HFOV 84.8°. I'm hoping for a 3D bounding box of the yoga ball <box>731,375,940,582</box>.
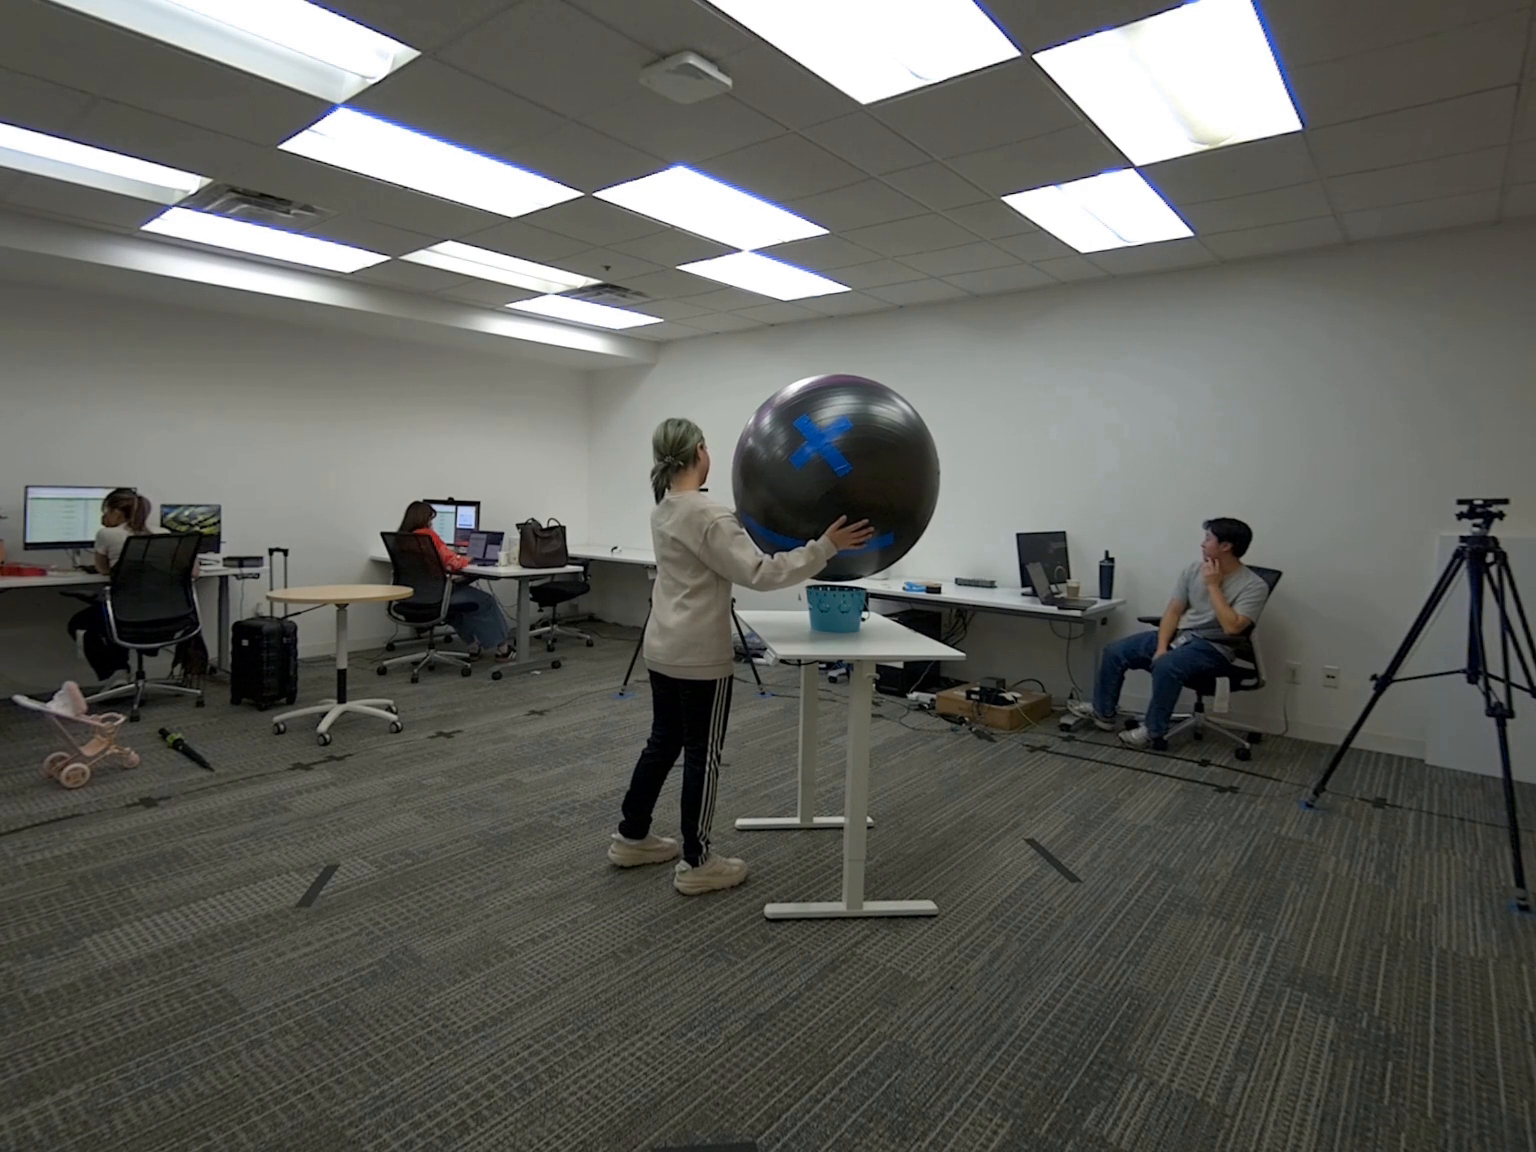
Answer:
[{"bbox_3d":[0.239,-0.364,3.135,0.757,0.755,0.762,1,4,-2],"label":"yoga ball"}]
